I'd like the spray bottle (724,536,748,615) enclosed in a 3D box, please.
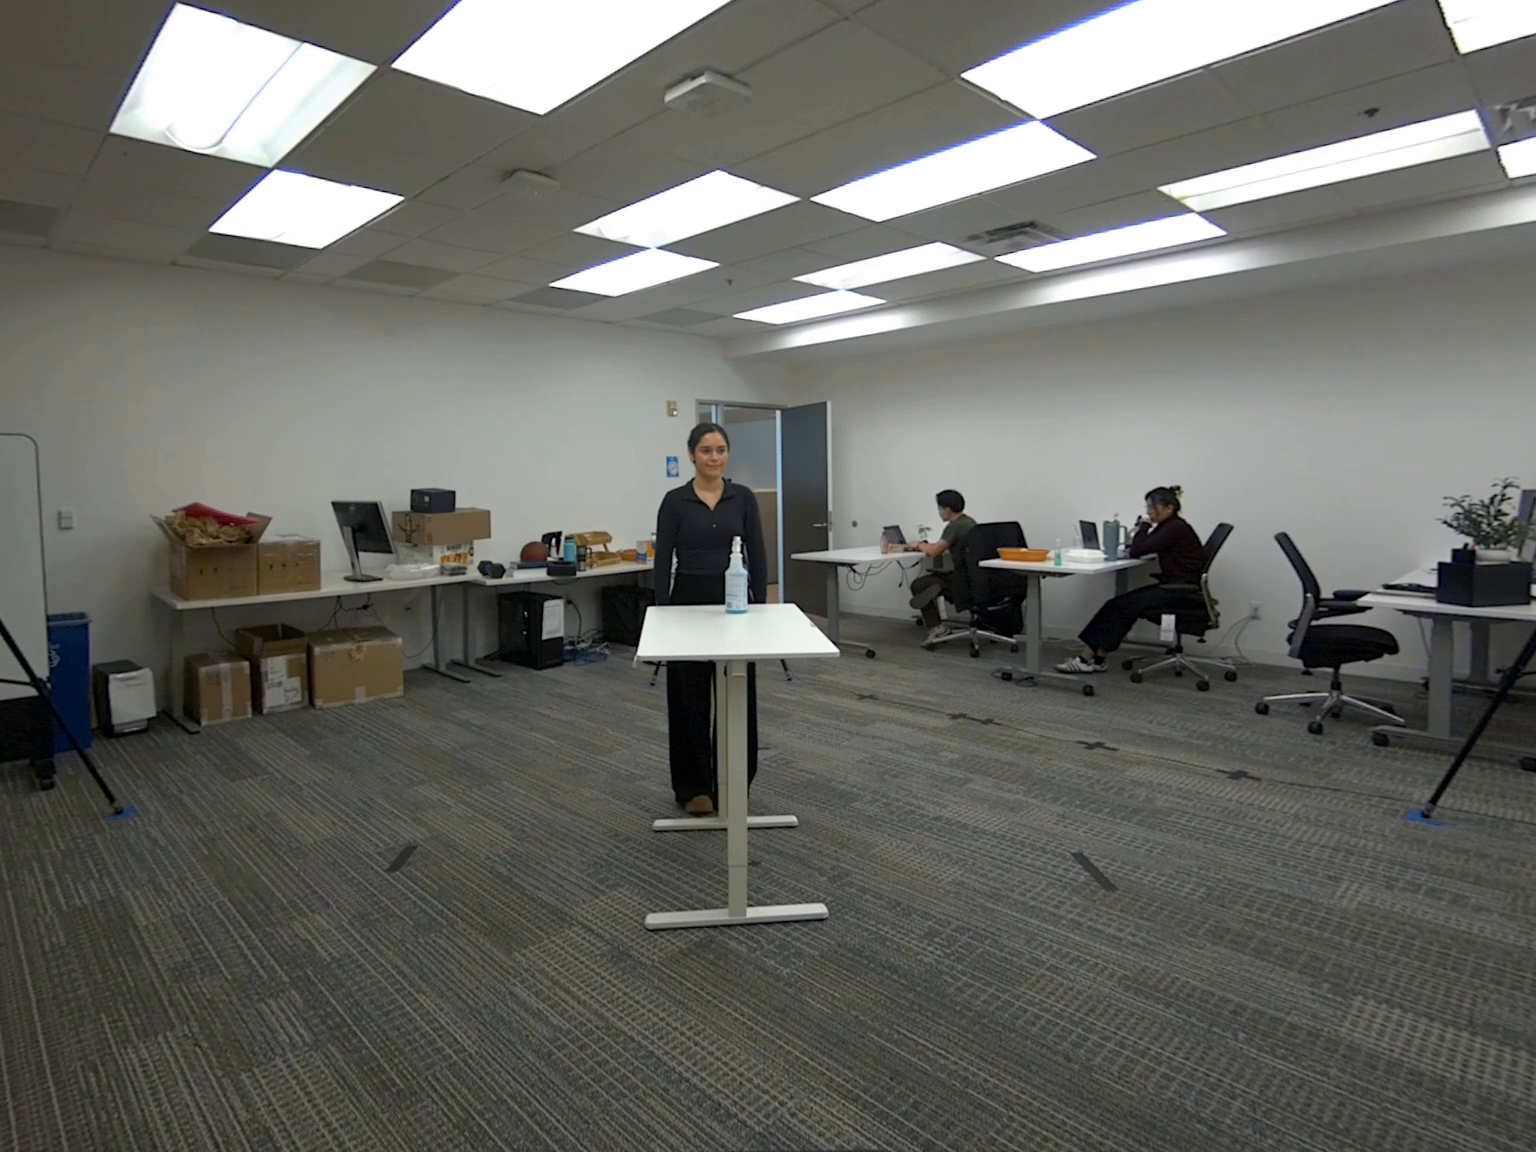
[{"bbox_3d":[-0.127,-0.002,3.306,0.088,0.296,0.089,2,5,15],"label":"spray bottle"}]
